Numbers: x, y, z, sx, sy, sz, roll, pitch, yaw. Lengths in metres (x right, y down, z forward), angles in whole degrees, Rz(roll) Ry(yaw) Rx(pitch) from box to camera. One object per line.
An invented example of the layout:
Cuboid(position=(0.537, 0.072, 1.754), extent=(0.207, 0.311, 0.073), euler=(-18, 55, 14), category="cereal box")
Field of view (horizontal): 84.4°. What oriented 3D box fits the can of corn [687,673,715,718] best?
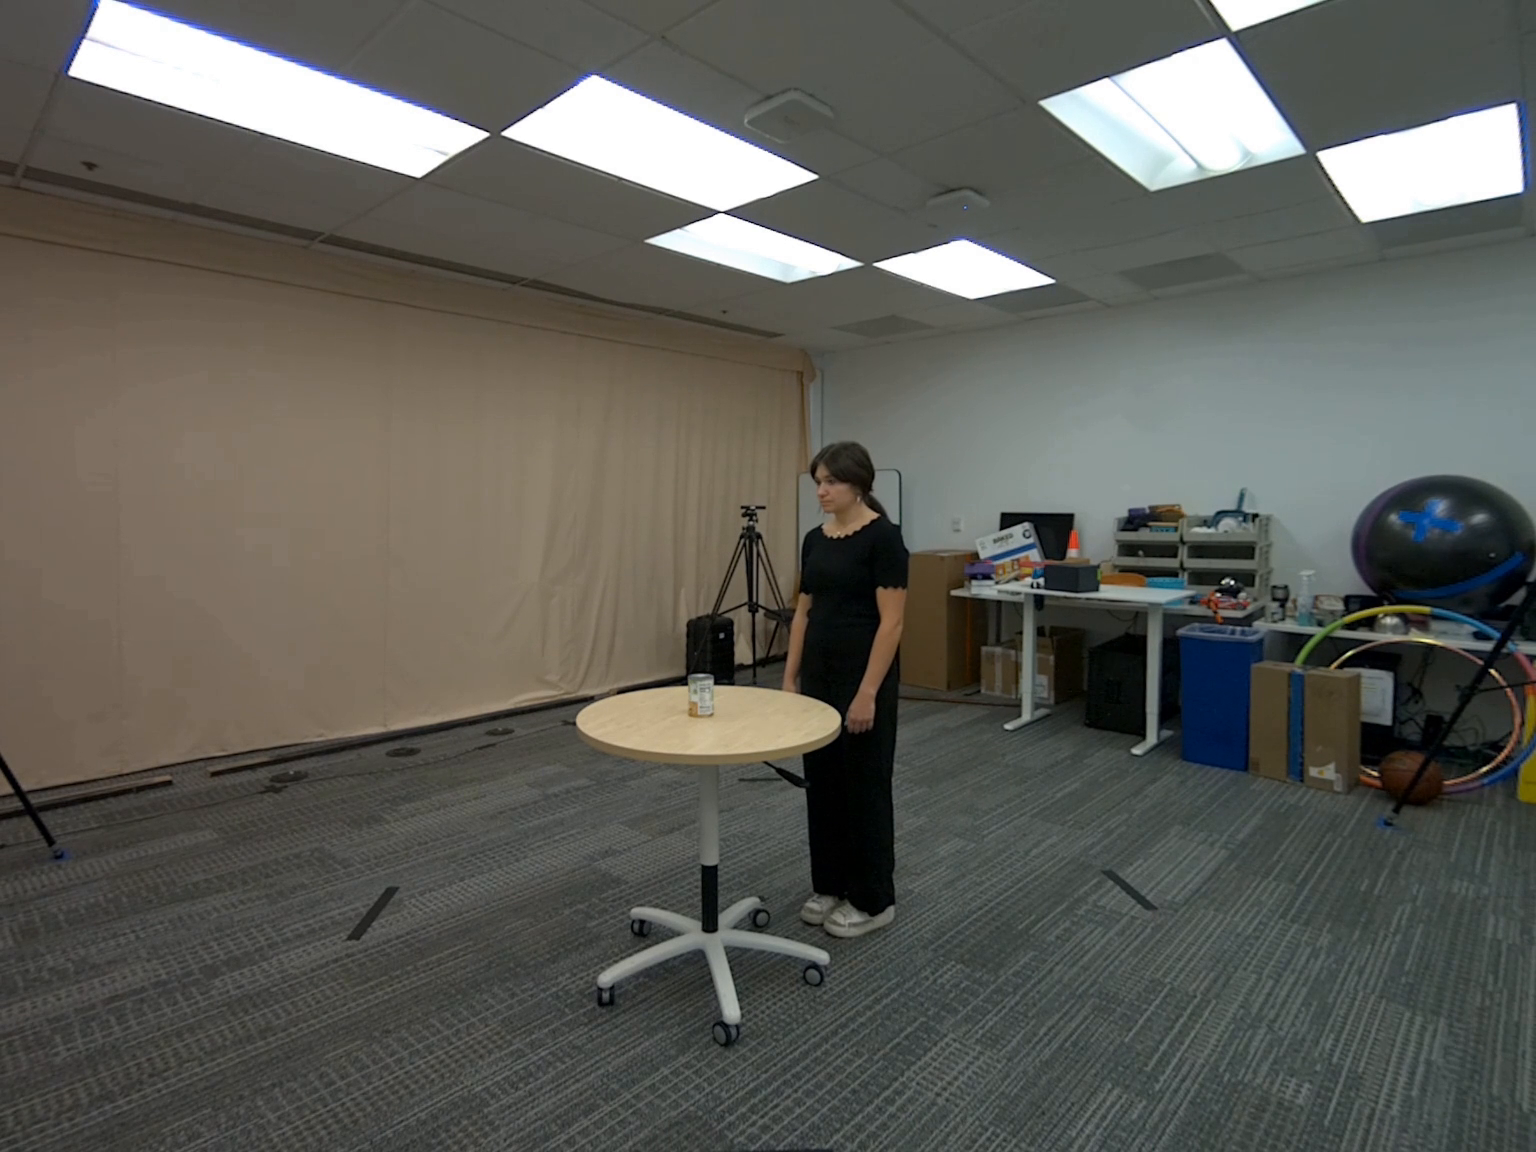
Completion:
Cuboid(position=(-0.194, 0.352, 2.446), extent=(0.074, 0.111, 0.074), euler=(-2, 4, -2), category="can of corn")
